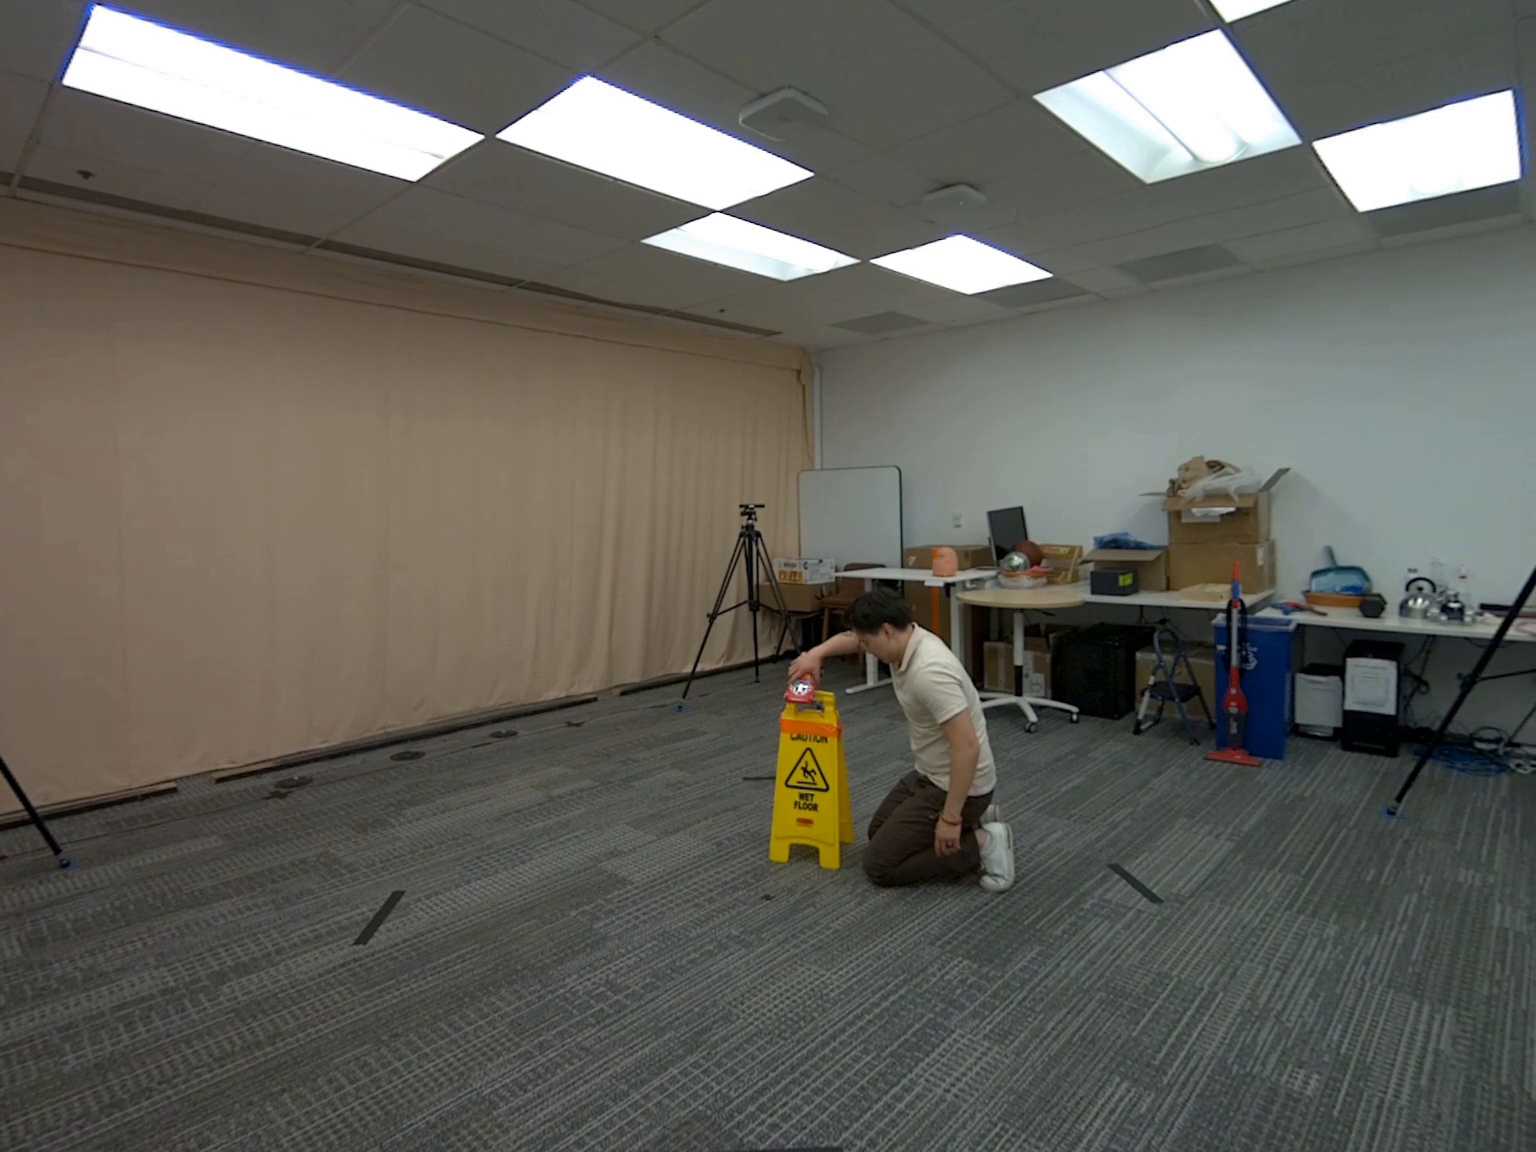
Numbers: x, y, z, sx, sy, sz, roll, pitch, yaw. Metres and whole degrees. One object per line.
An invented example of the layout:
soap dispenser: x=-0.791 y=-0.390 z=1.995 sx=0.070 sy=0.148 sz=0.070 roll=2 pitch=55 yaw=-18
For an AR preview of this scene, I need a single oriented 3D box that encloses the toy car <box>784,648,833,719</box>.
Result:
toy car: x=0.161 y=0.423 z=3.365 sx=0.133 sy=0.256 sz=0.081 roll=2 pitch=-38 yaw=18
